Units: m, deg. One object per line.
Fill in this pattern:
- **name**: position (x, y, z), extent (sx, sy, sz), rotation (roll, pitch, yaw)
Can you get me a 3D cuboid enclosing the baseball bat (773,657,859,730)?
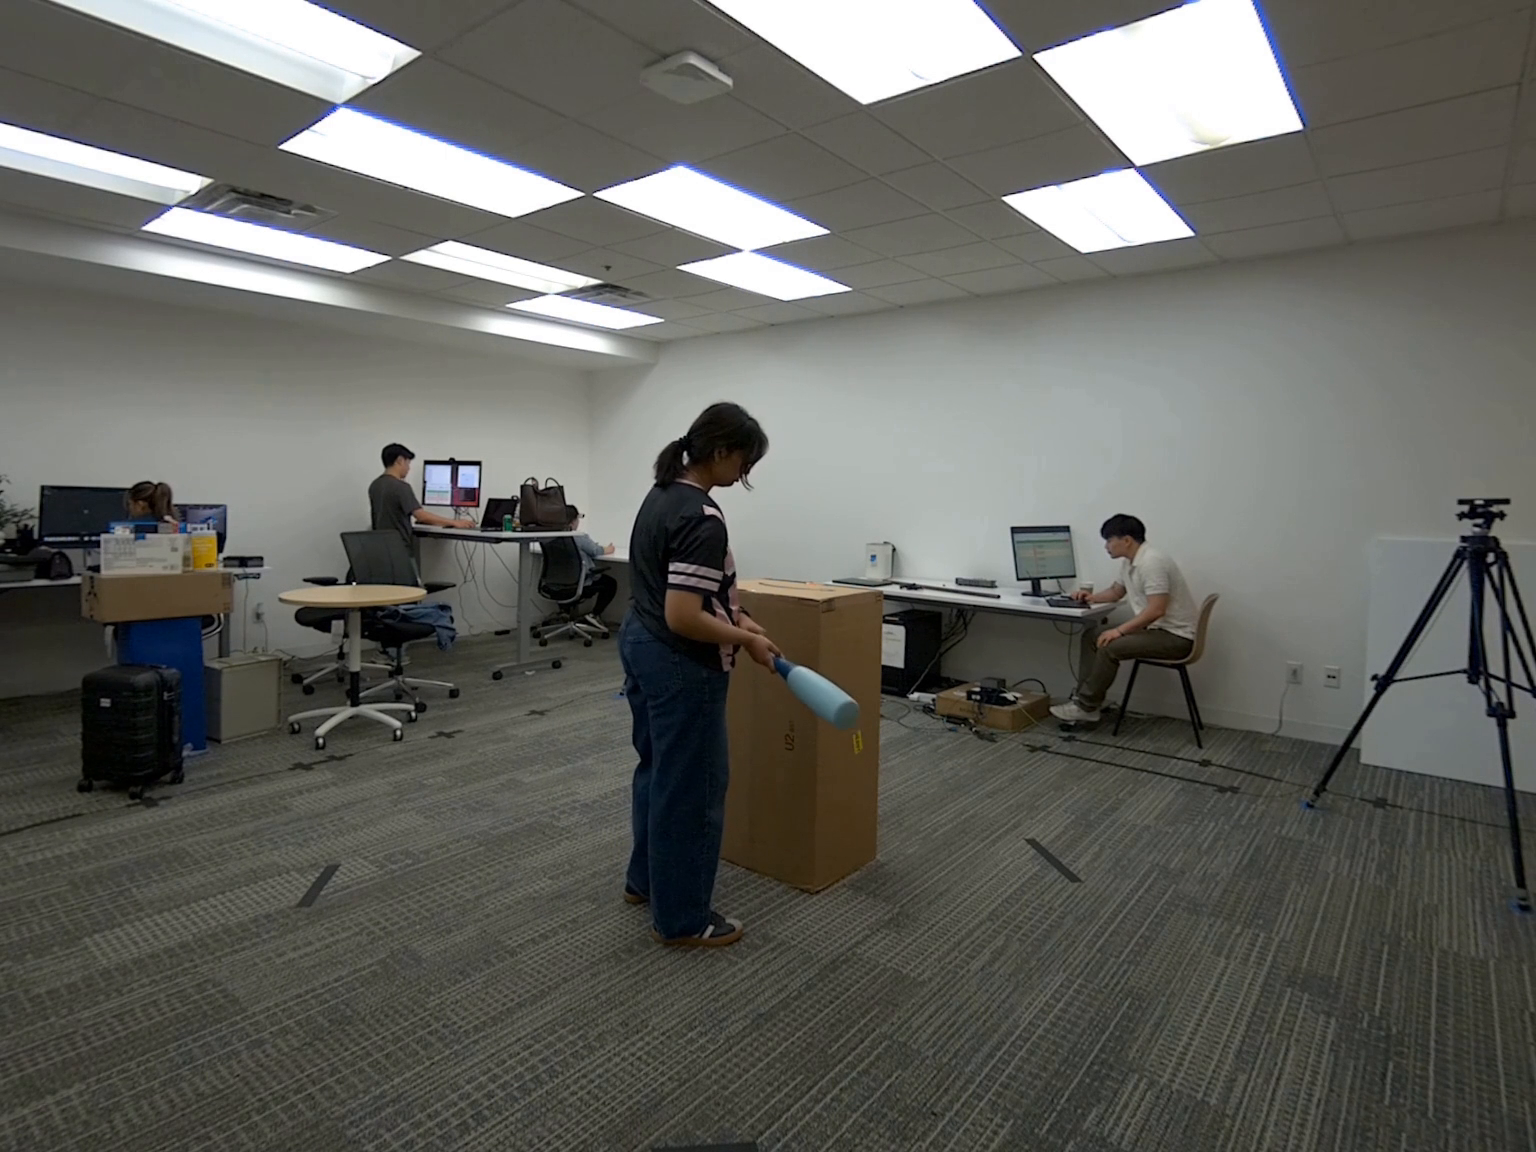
- **baseball bat**: position (0.079, 0.273, 2.412), extent (0.087, 0.088, 0.561), rotation (-1, 16, -22)
